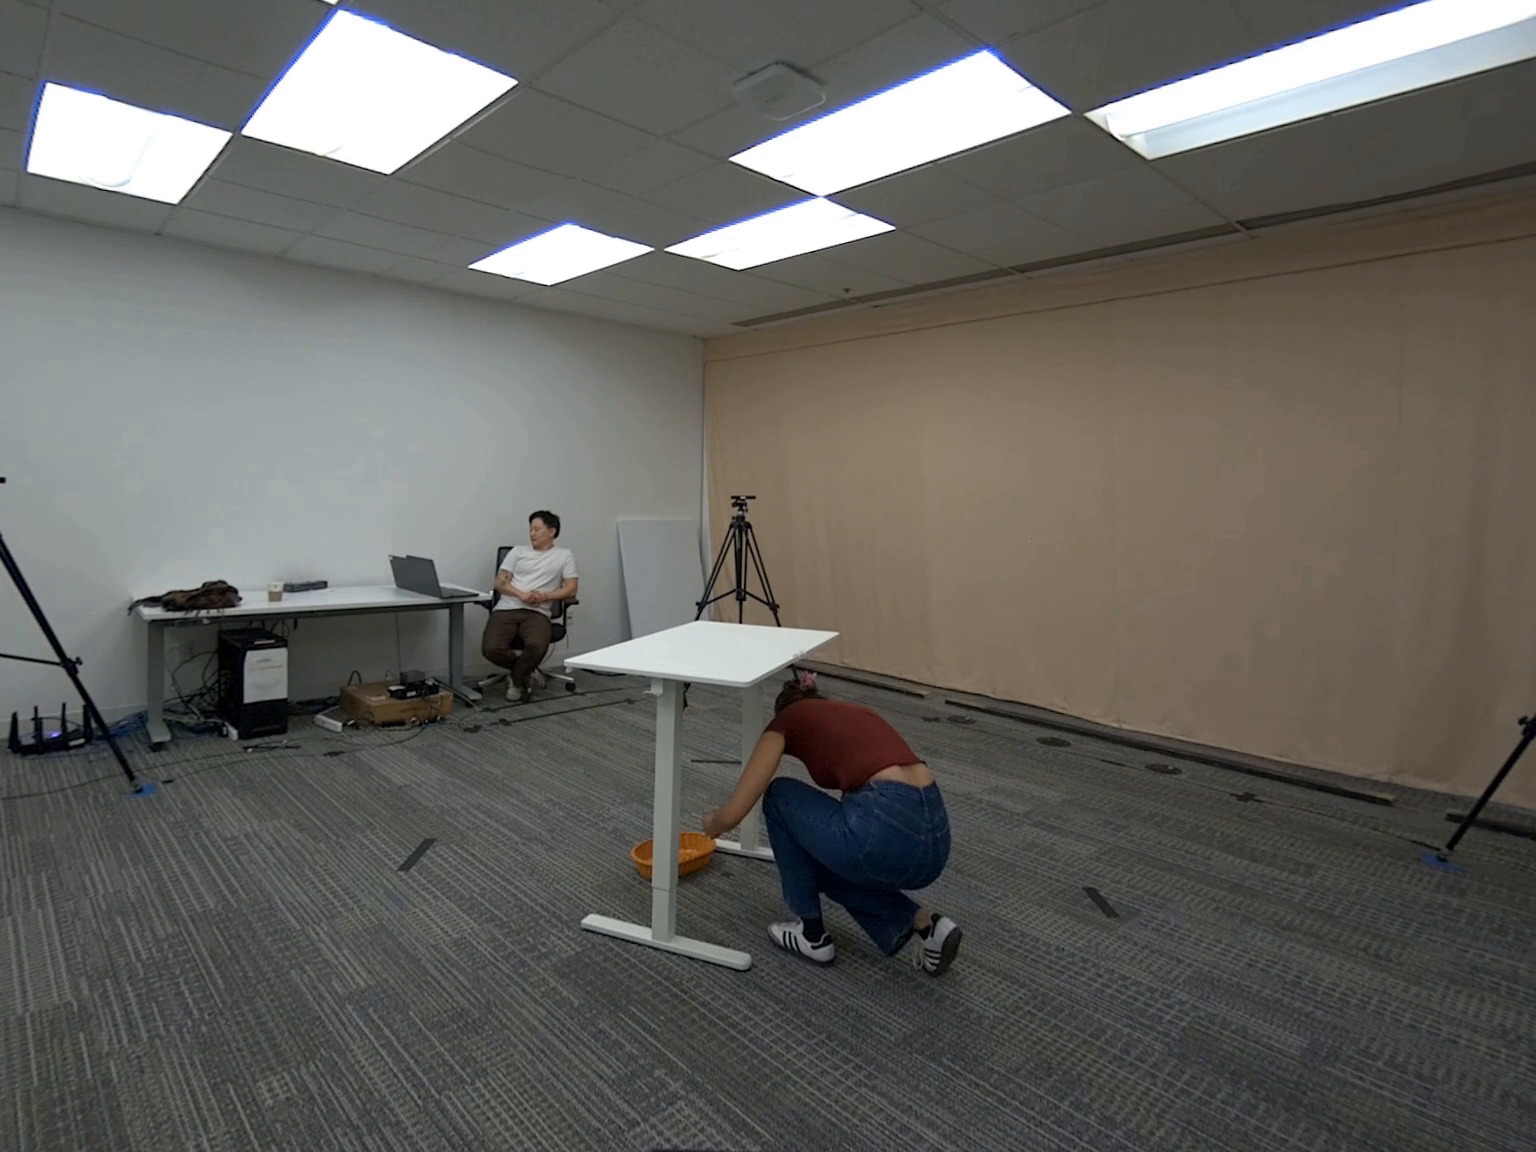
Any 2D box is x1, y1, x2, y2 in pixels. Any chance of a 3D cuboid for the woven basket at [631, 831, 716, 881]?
[{"bbox_3d":[-0.355,1.051,3.160,0.259,0.073,0.342,5,6,44],"label":"woven basket"}]
